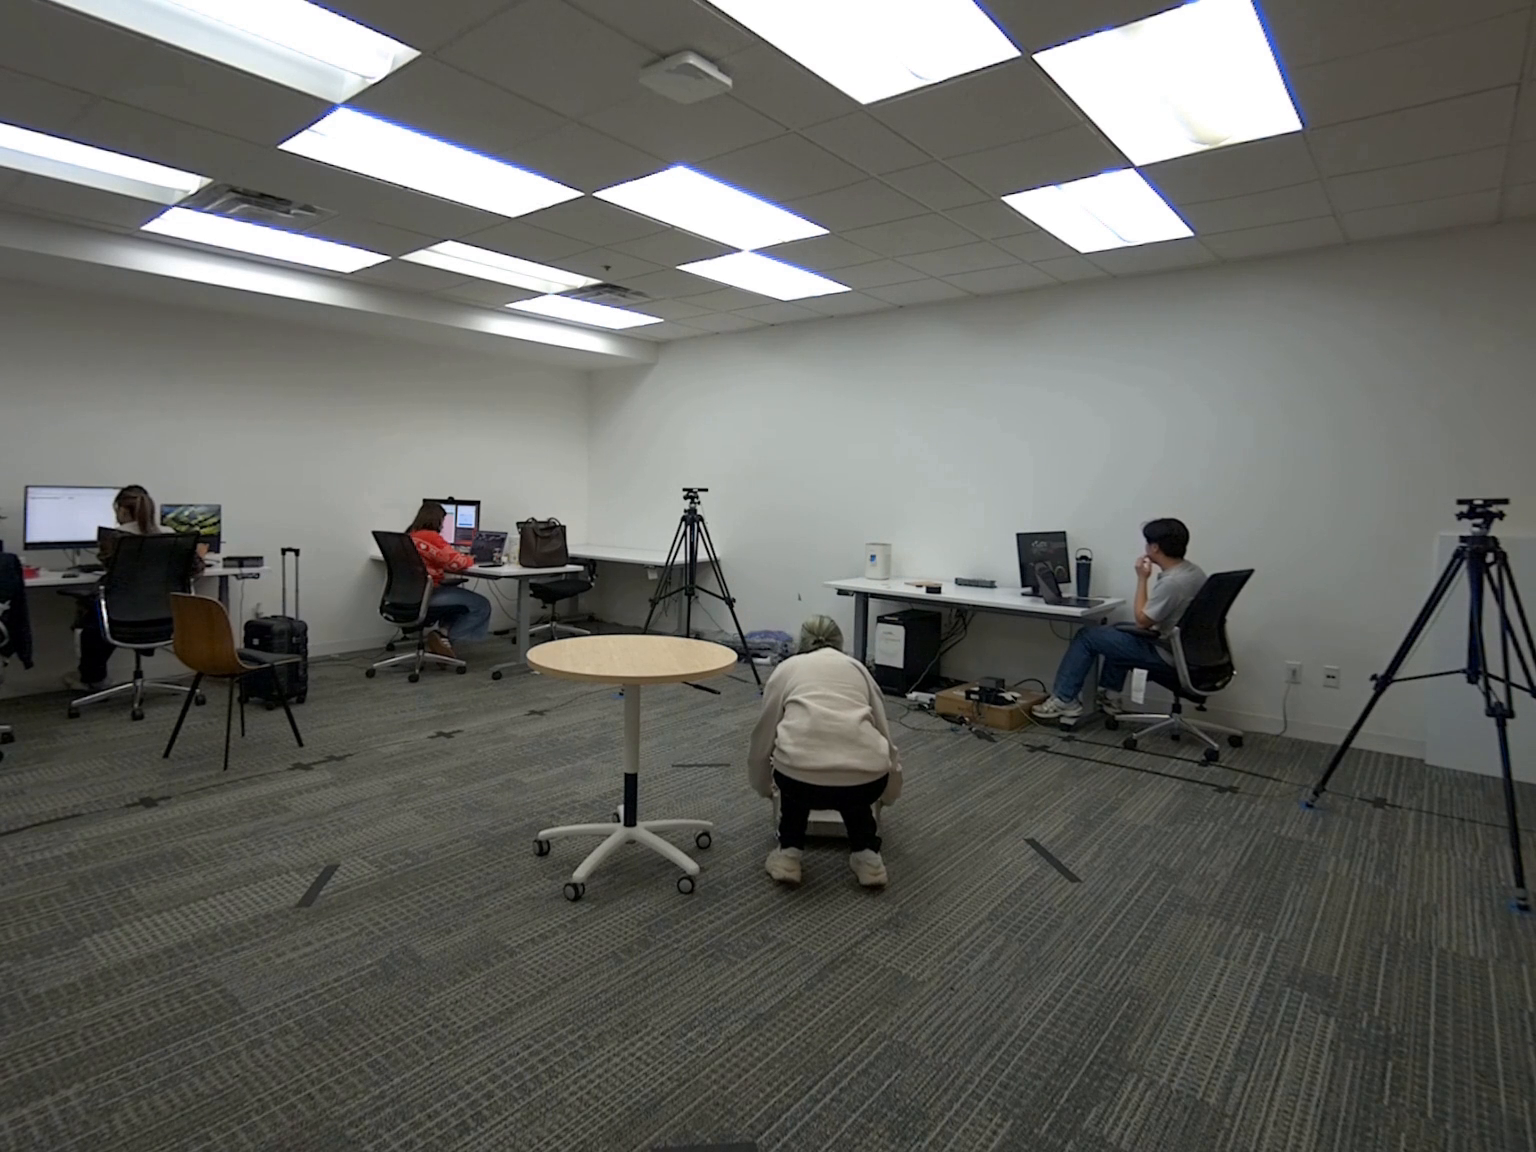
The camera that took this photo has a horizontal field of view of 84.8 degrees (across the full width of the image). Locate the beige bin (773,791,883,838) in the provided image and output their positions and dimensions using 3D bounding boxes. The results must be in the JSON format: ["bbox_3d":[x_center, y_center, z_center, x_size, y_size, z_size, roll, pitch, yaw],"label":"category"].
[{"bbox_3d":[0.232,0.933,3.494,0.425,0.188,0.376,0,3,5],"label":"beige bin"}]
